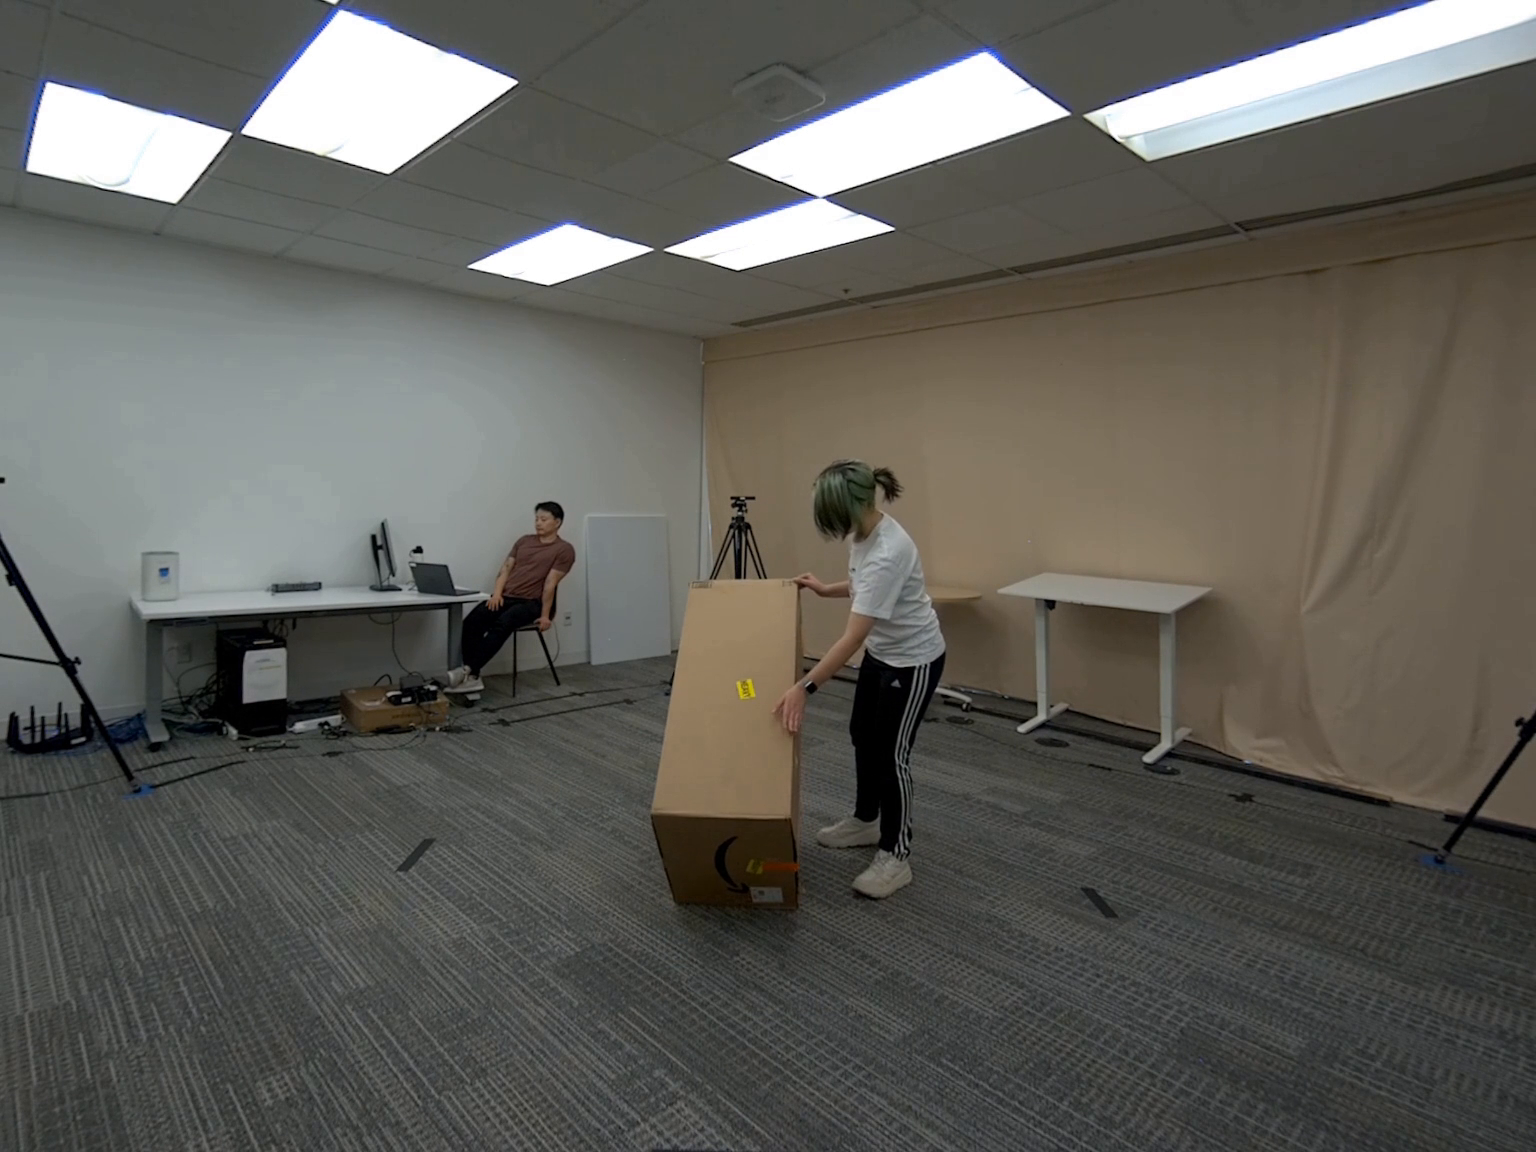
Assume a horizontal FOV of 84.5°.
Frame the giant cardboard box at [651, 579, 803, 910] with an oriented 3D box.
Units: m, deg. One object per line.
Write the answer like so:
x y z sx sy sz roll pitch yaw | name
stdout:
-0.107 0.579 3.055 0.428 0.563 1.046 -1 42 5 | giant cardboard box
